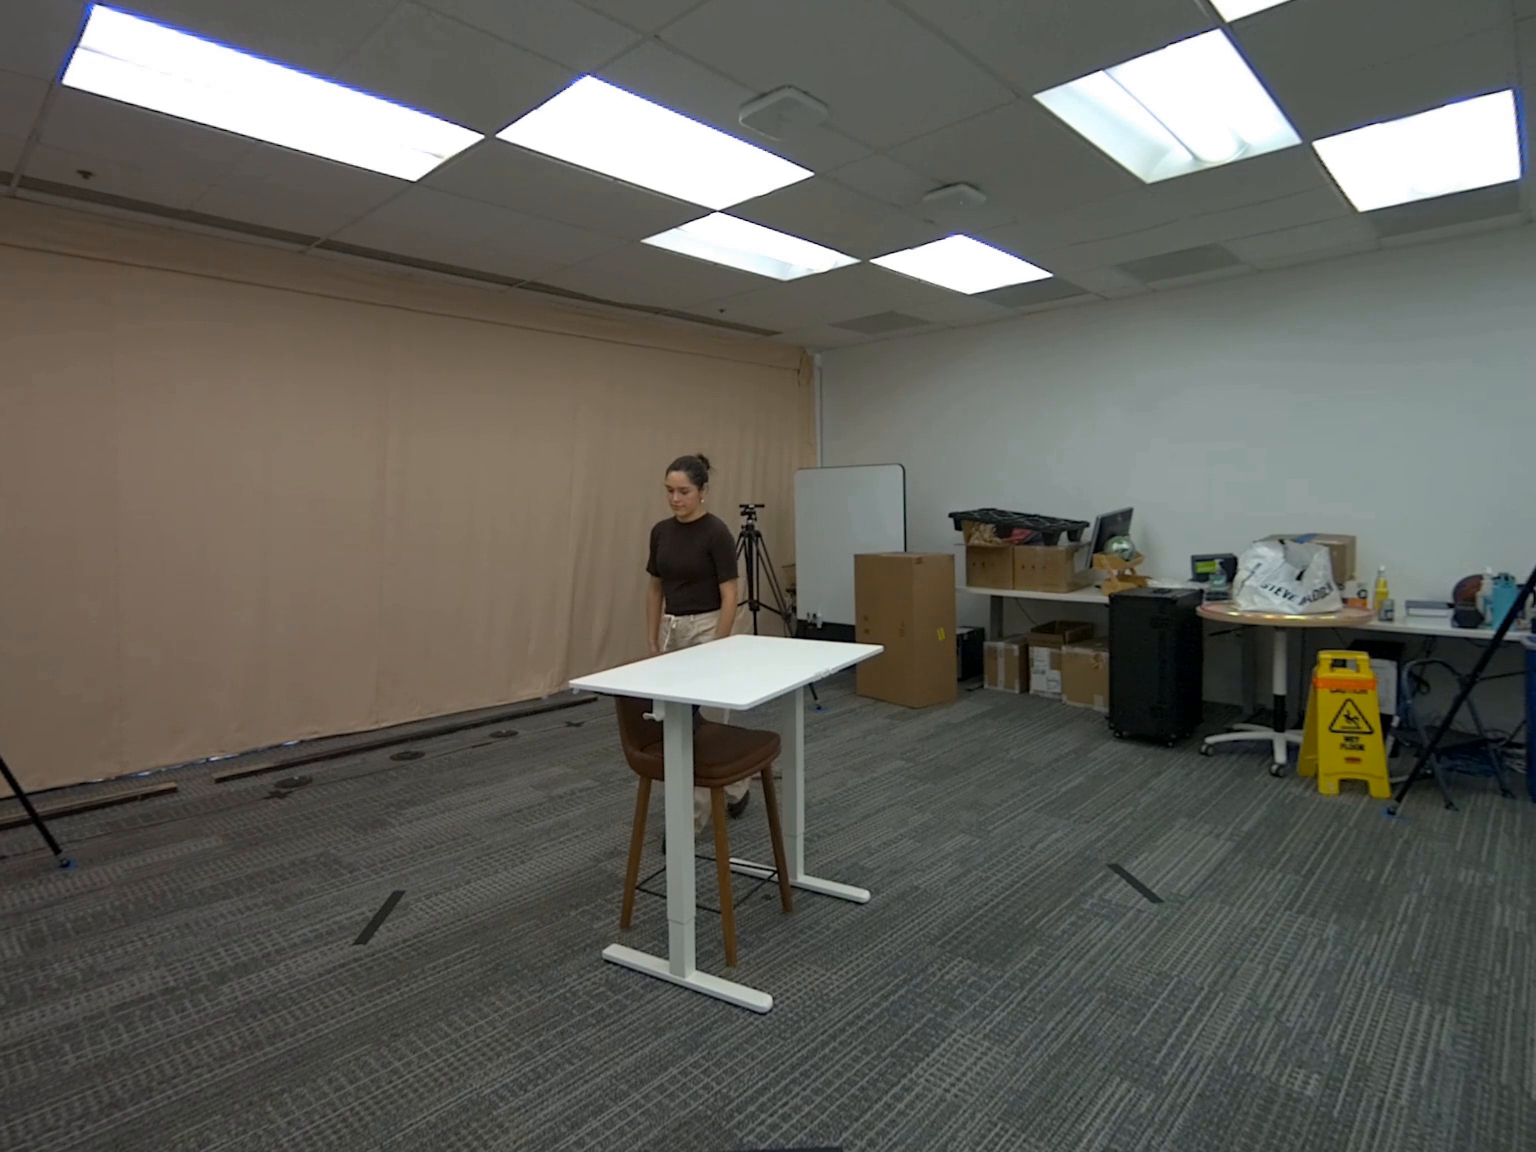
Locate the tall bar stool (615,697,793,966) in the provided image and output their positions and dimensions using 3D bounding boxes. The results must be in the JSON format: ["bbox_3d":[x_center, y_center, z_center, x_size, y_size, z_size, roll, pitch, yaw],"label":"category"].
[{"bbox_3d":[-0.217,0.724,2.807,0.481,0.888,0.444,-1,3,30],"label":"tall bar stool"}]
